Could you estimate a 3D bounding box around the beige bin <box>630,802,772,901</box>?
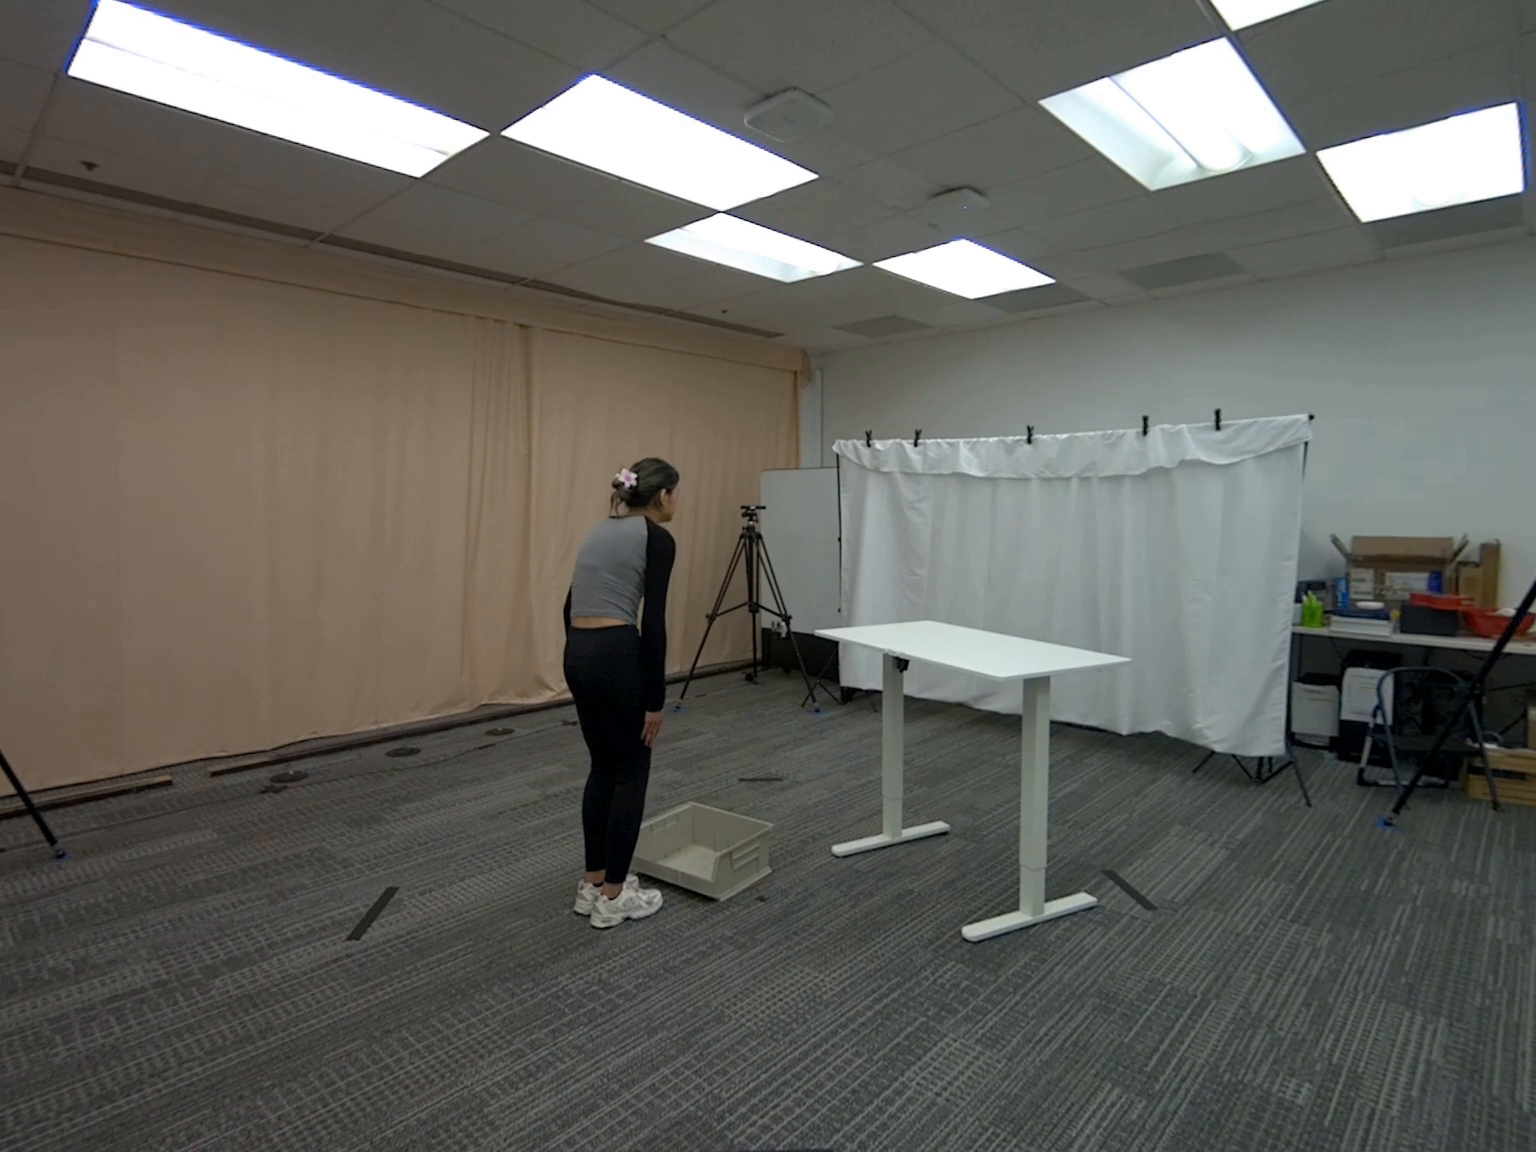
[{"bbox_3d":[-0.252,1.039,3.188,0.436,0.188,0.366,3,5,36],"label":"beige bin"}]
